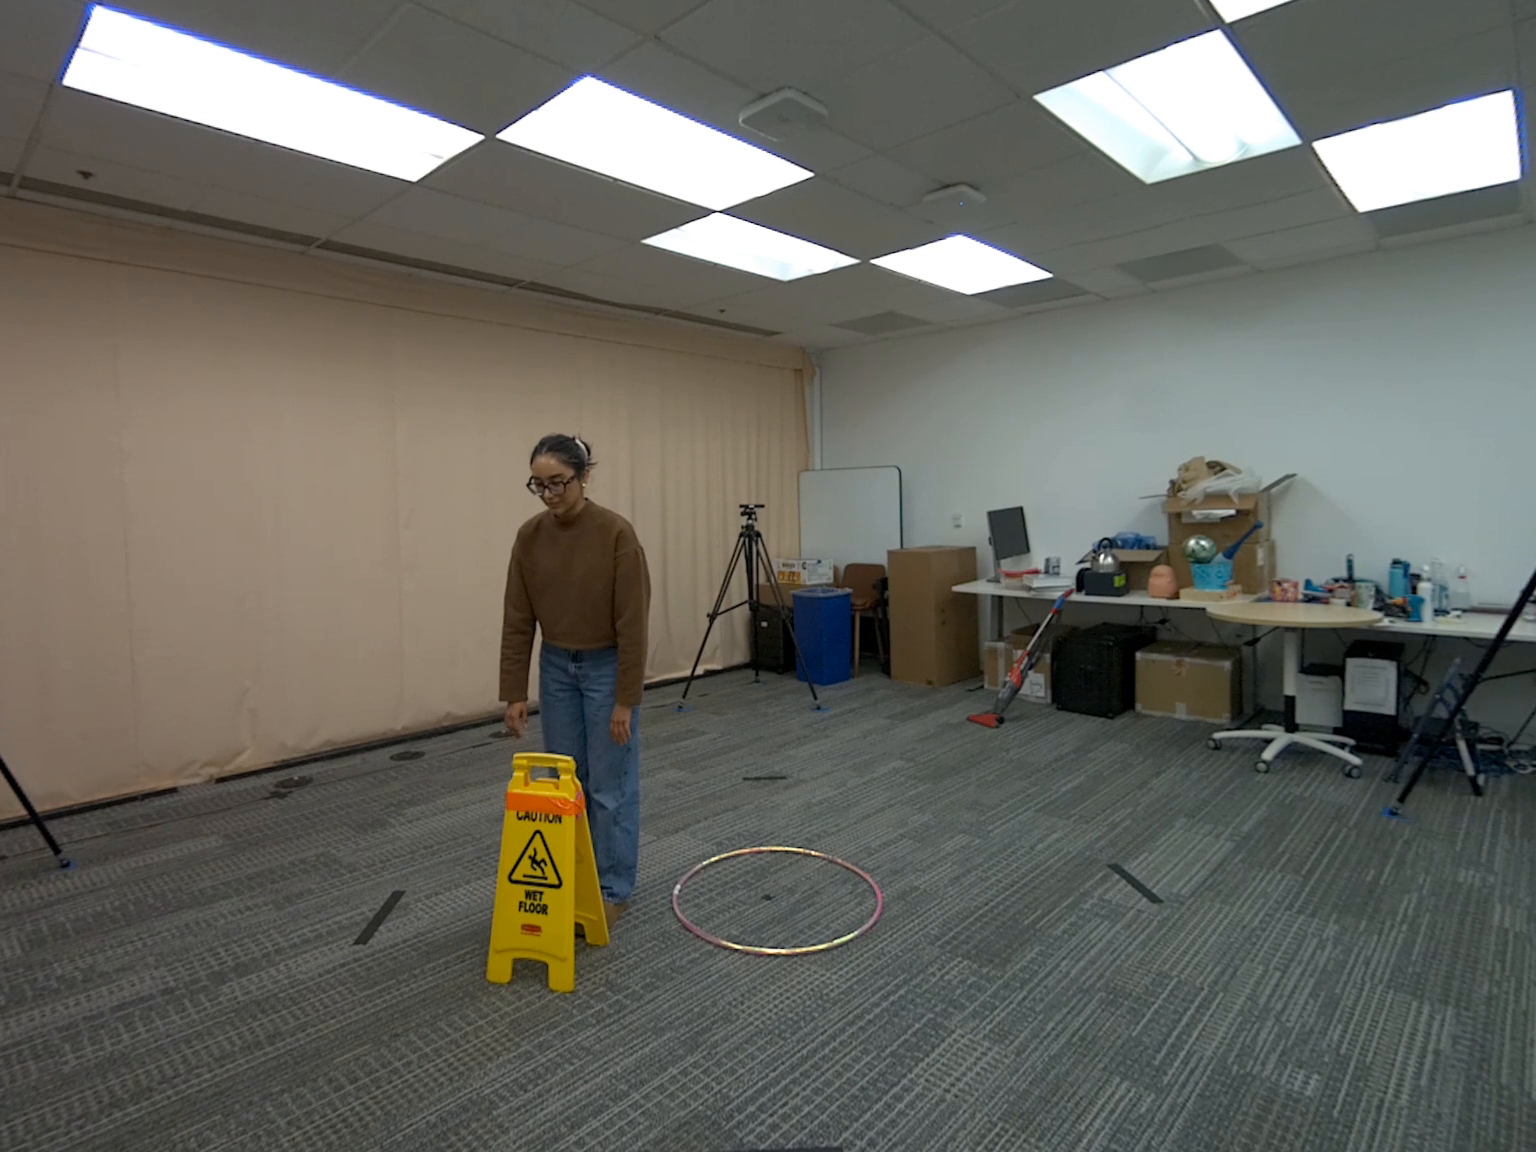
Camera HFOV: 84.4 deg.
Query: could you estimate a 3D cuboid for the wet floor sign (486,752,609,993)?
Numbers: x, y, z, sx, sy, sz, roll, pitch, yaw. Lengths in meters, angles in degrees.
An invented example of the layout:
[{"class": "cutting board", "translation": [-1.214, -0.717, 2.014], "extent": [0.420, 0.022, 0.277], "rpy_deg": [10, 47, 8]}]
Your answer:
[{"class": "wet floor sign", "translation": [-0.678, 0.860, 2.576], "extent": [0.287, 0.645, 0.286], "rpy_deg": [-2, 3, 14]}]
